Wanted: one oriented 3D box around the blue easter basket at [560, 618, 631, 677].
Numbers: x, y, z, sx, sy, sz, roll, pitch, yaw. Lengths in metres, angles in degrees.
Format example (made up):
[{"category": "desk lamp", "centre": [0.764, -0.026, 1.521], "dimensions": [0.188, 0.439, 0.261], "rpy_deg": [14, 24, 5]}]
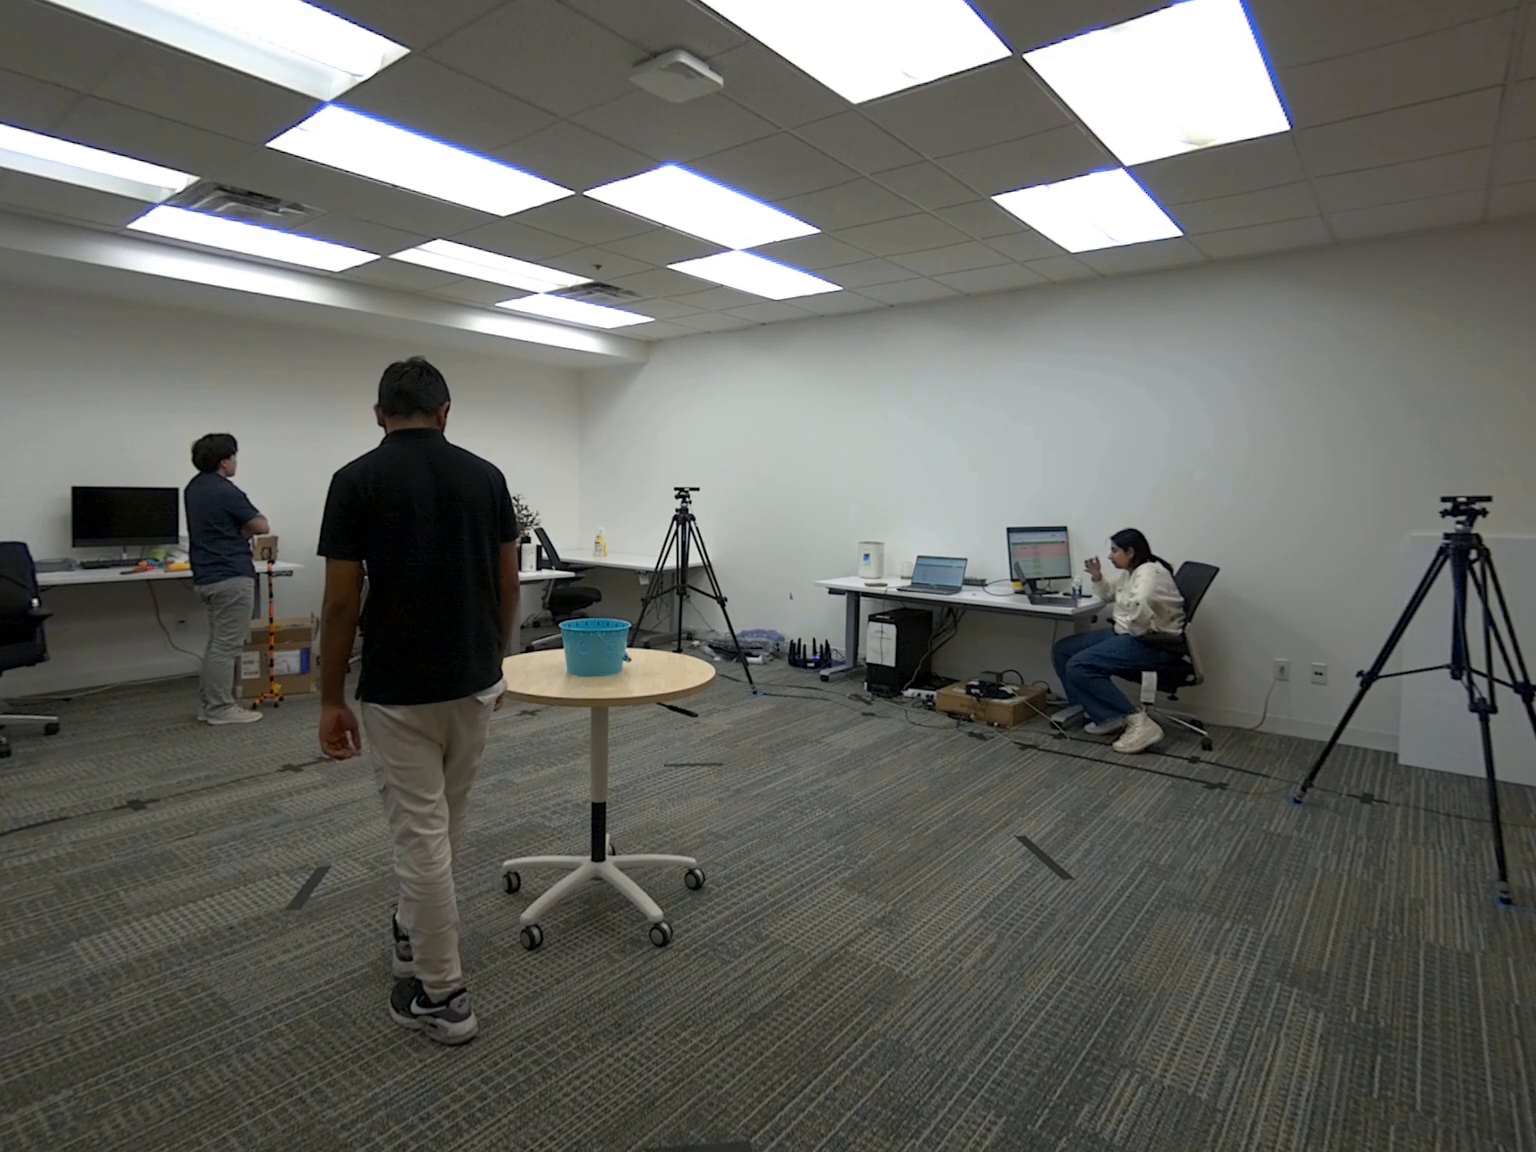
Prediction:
[{"category": "blue easter basket", "centre": [-0.585, 0.237, 2.791], "dimensions": [0.243, 0.155, 0.245], "rpy_deg": [0, 7, -2]}]
